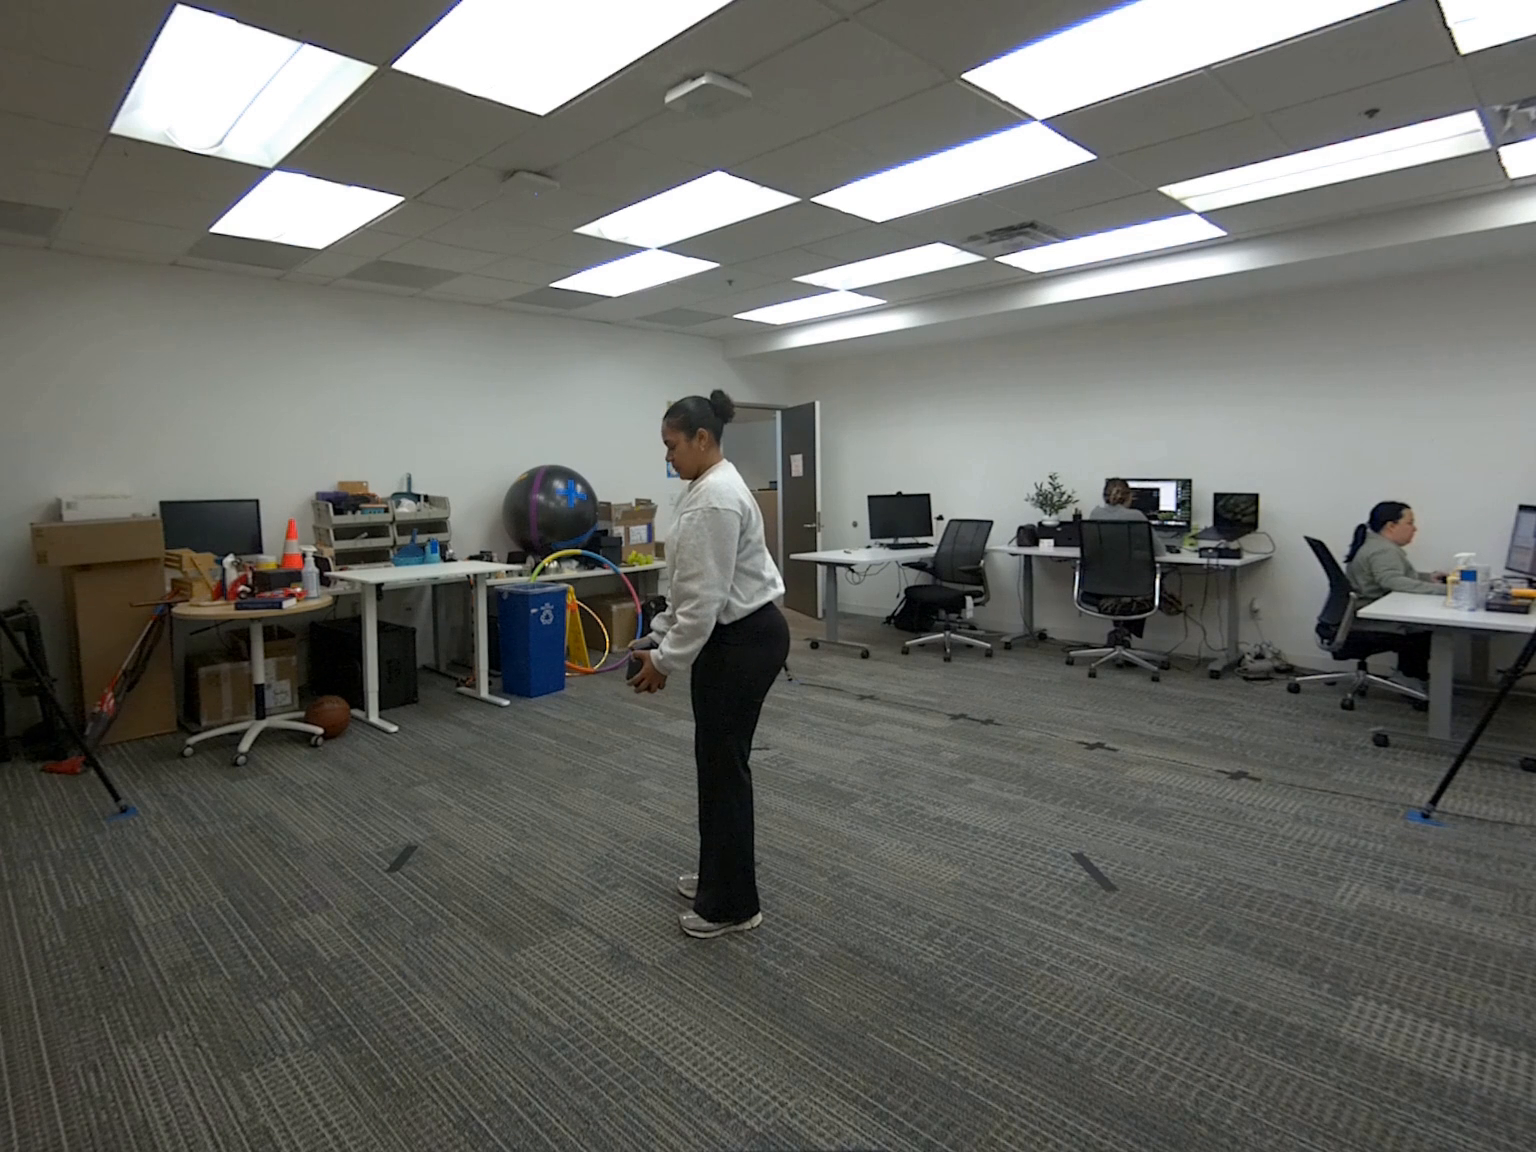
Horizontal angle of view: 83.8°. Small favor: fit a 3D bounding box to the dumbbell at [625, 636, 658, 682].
[{"bbox_3d":[-0.375,0.281,2.701,0.108,0.122,0.297,10,6,-8],"label":"dumbbell"}]
